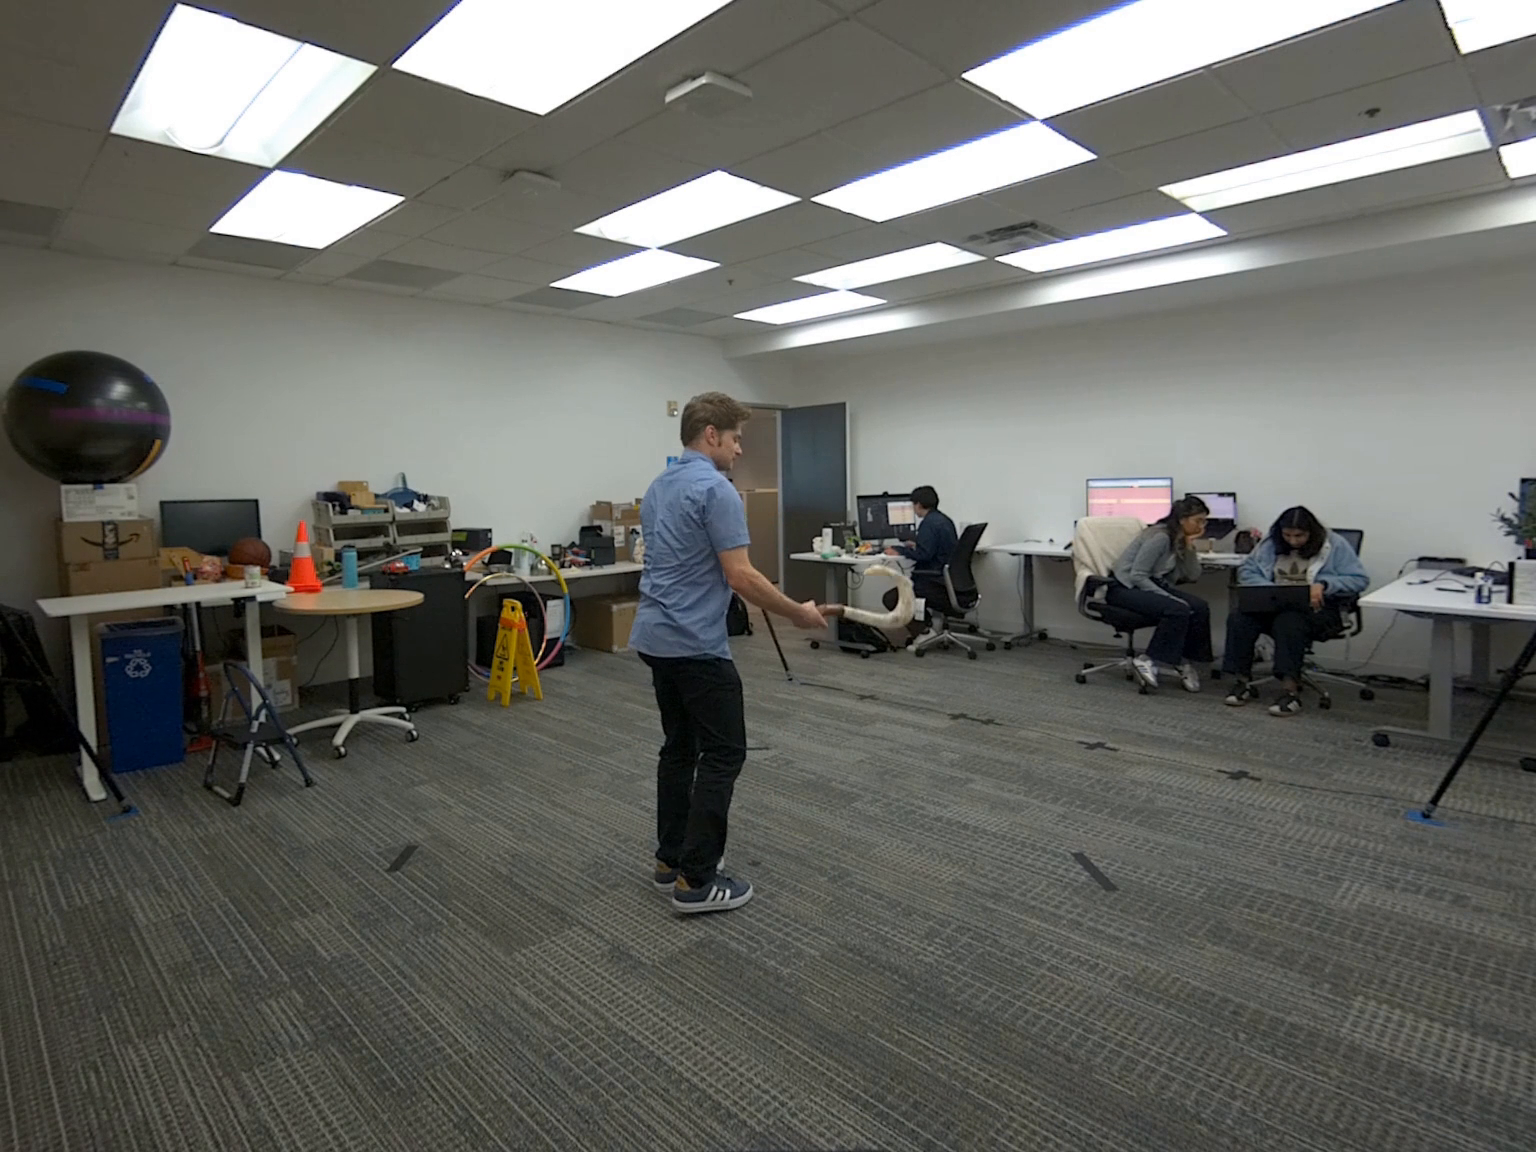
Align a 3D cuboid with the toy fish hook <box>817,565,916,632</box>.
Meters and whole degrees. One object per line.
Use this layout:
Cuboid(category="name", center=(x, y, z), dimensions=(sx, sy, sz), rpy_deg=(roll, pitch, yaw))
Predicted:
Cuboid(category="toy fish hook", center=(0.289, 0.087, 3.001), dimensions=(0.498, 0.229, 0.048), rpy_deg=(0, -23, -18))
